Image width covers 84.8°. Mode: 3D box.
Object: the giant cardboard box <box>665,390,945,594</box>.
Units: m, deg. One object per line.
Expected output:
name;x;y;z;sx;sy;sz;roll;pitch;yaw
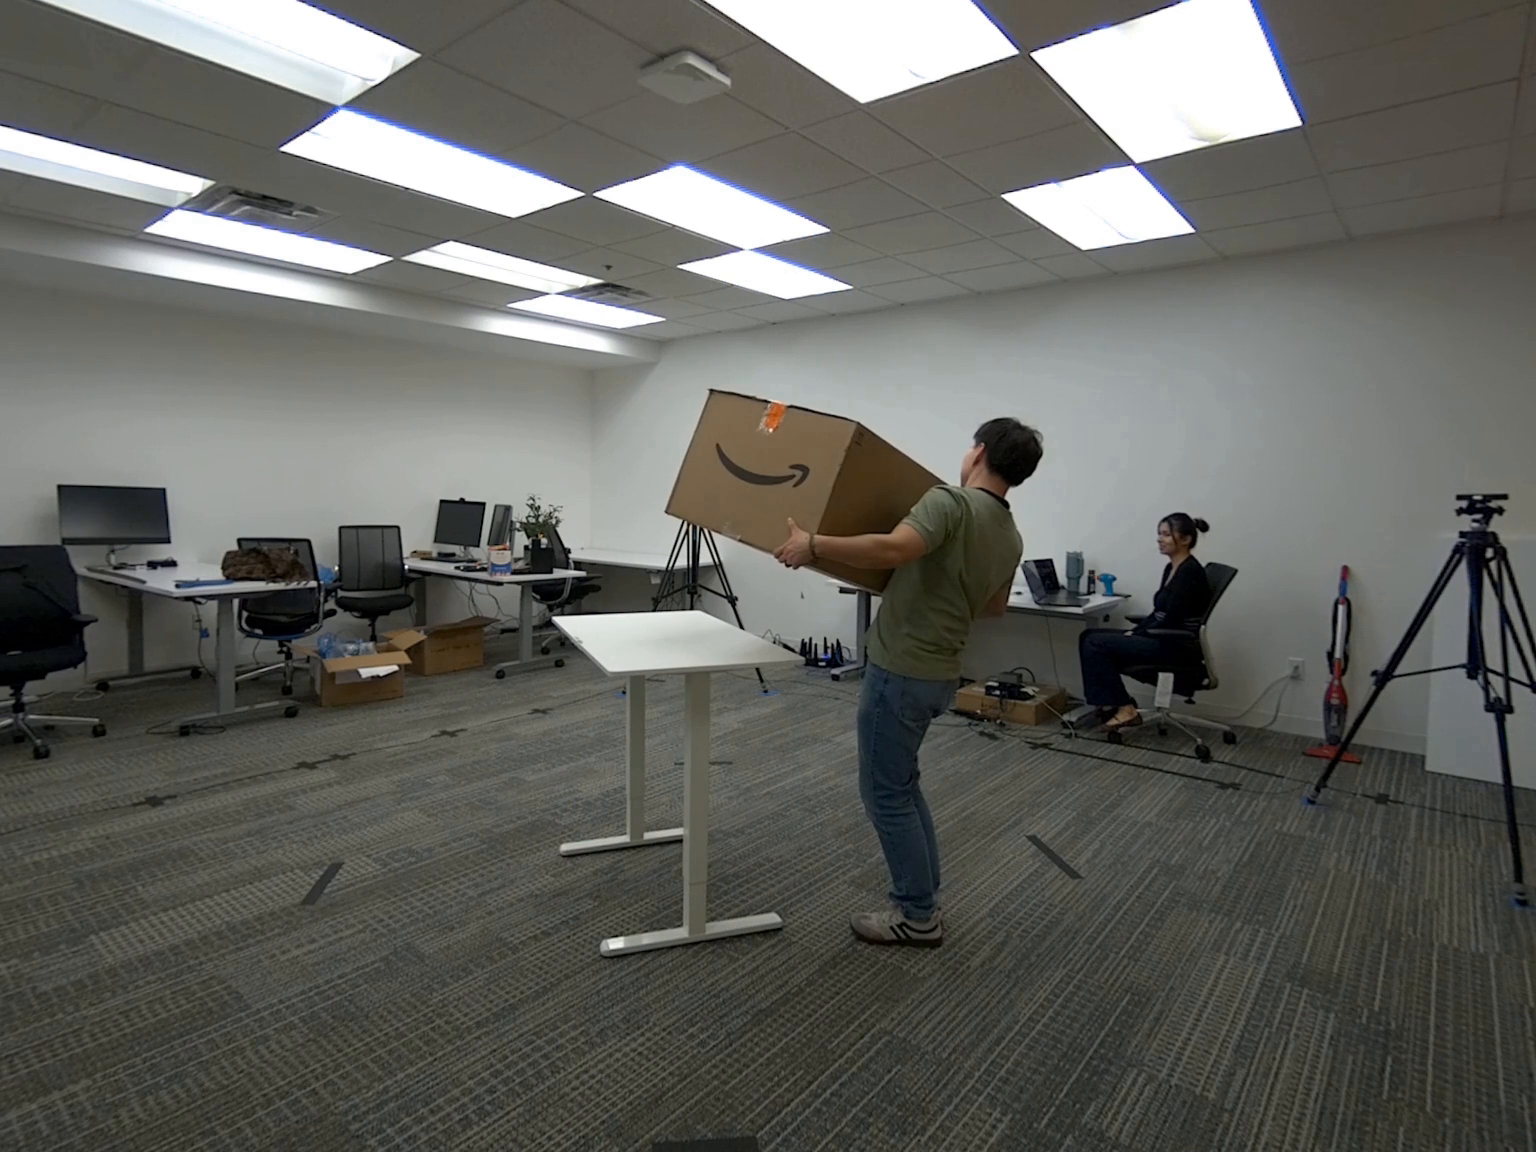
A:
giant cardboard box;0.227;-0.226;2.913;0.600;0.426;0.986;22;2;37
